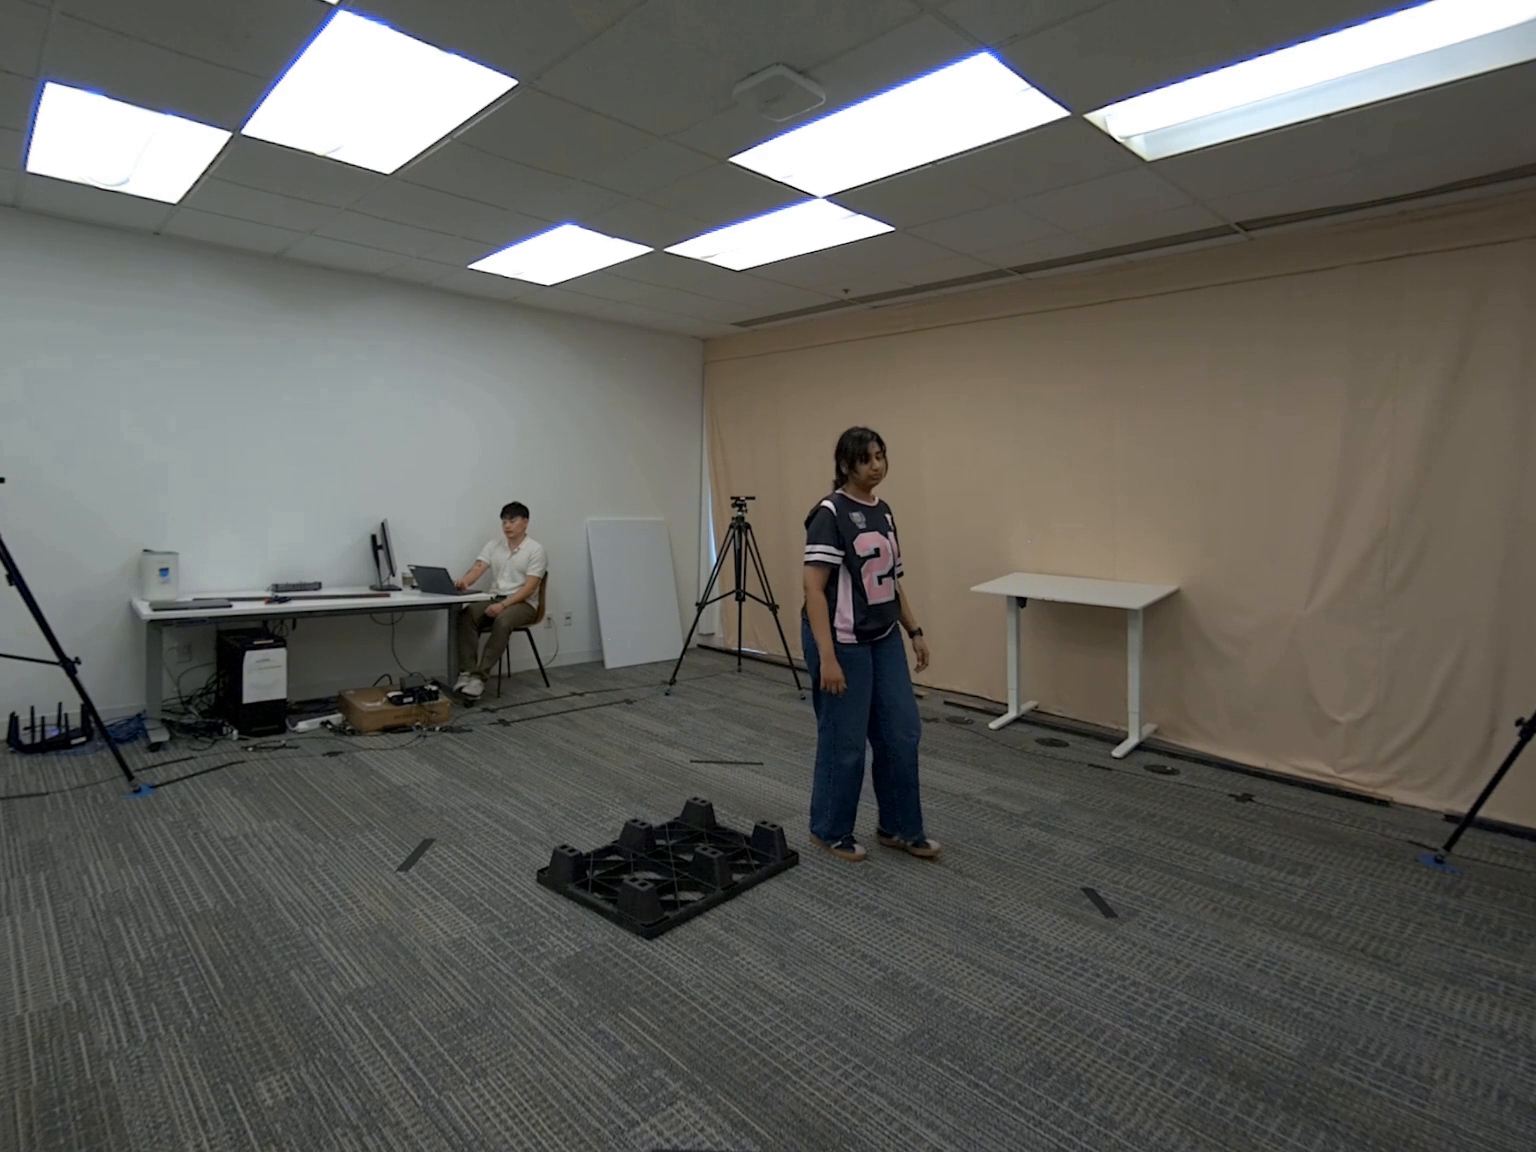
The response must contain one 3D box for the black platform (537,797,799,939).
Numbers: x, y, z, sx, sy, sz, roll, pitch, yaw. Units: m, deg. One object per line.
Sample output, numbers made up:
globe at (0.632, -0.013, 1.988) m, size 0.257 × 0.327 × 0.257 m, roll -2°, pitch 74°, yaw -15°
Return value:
black platform at (-0.362, 1.033, 3.121) m, size 0.620 × 0.143 × 0.788 m, roll 6°, pitch 7°, yaw 39°
